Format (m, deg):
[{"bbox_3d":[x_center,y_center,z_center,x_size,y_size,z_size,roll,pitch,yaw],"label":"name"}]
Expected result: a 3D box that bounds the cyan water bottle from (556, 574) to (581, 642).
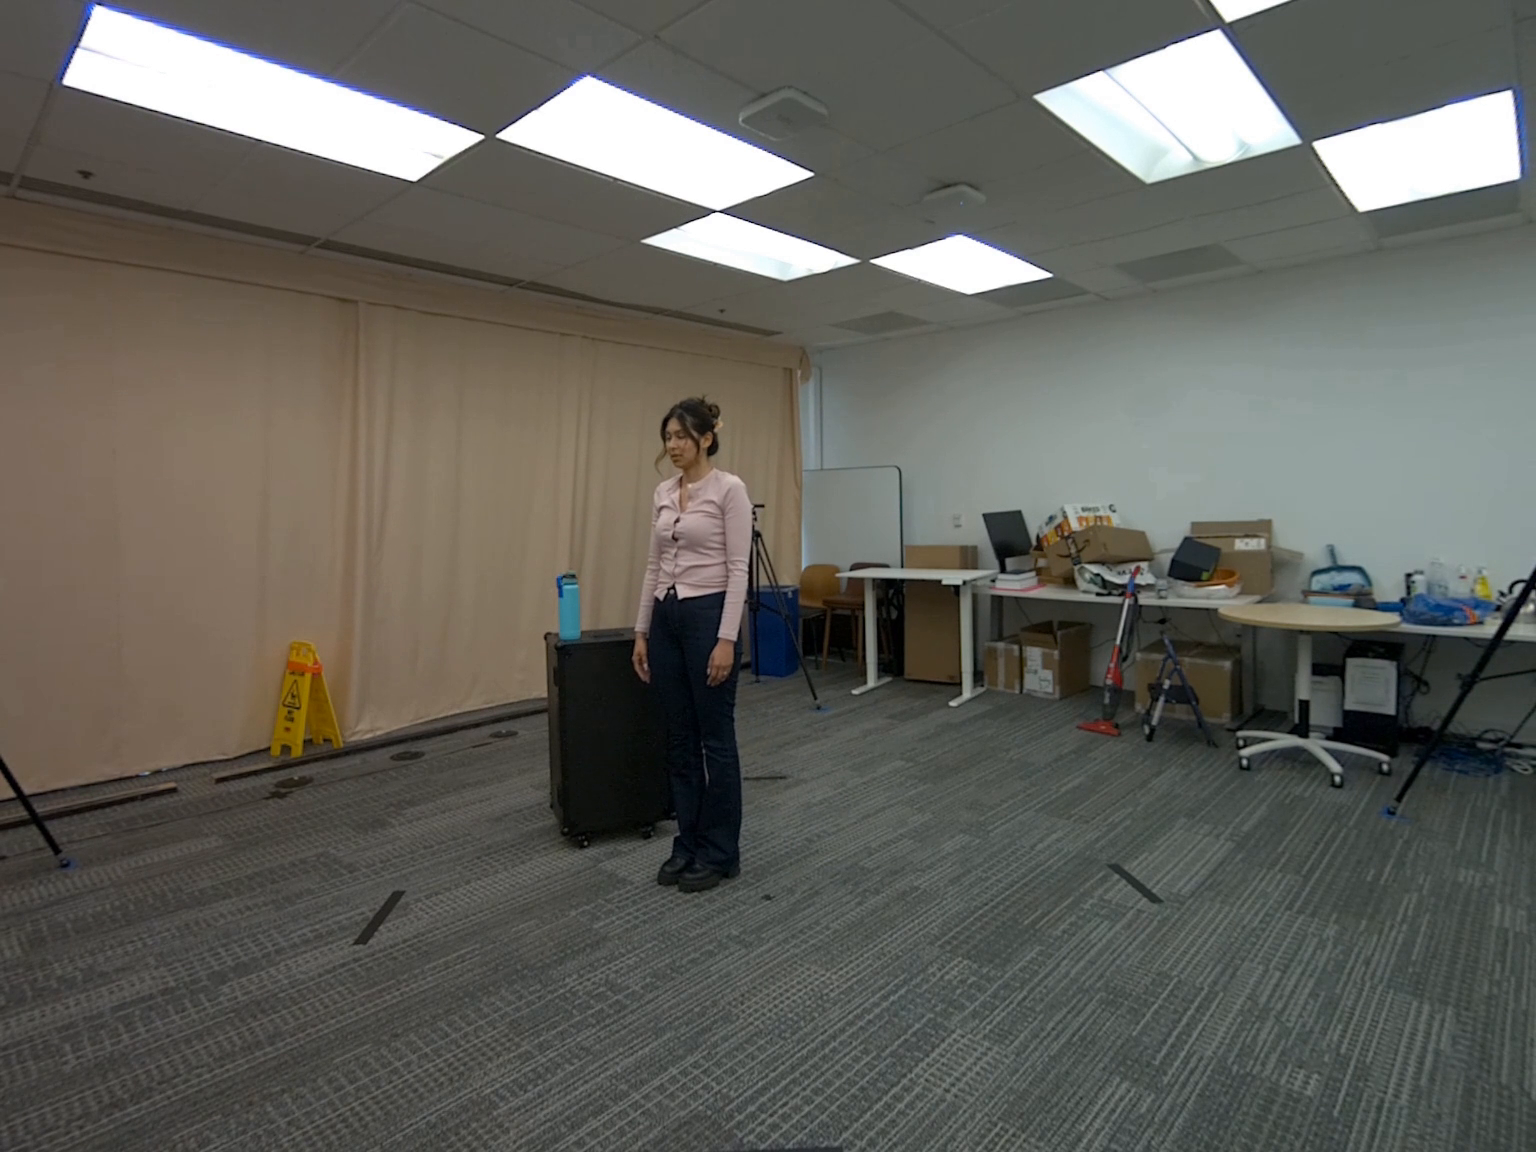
[{"bbox_3d":[-0.845,0.122,3.545,0.092,0.283,0.092,-2,3,-2],"label":"cyan water bottle"}]
